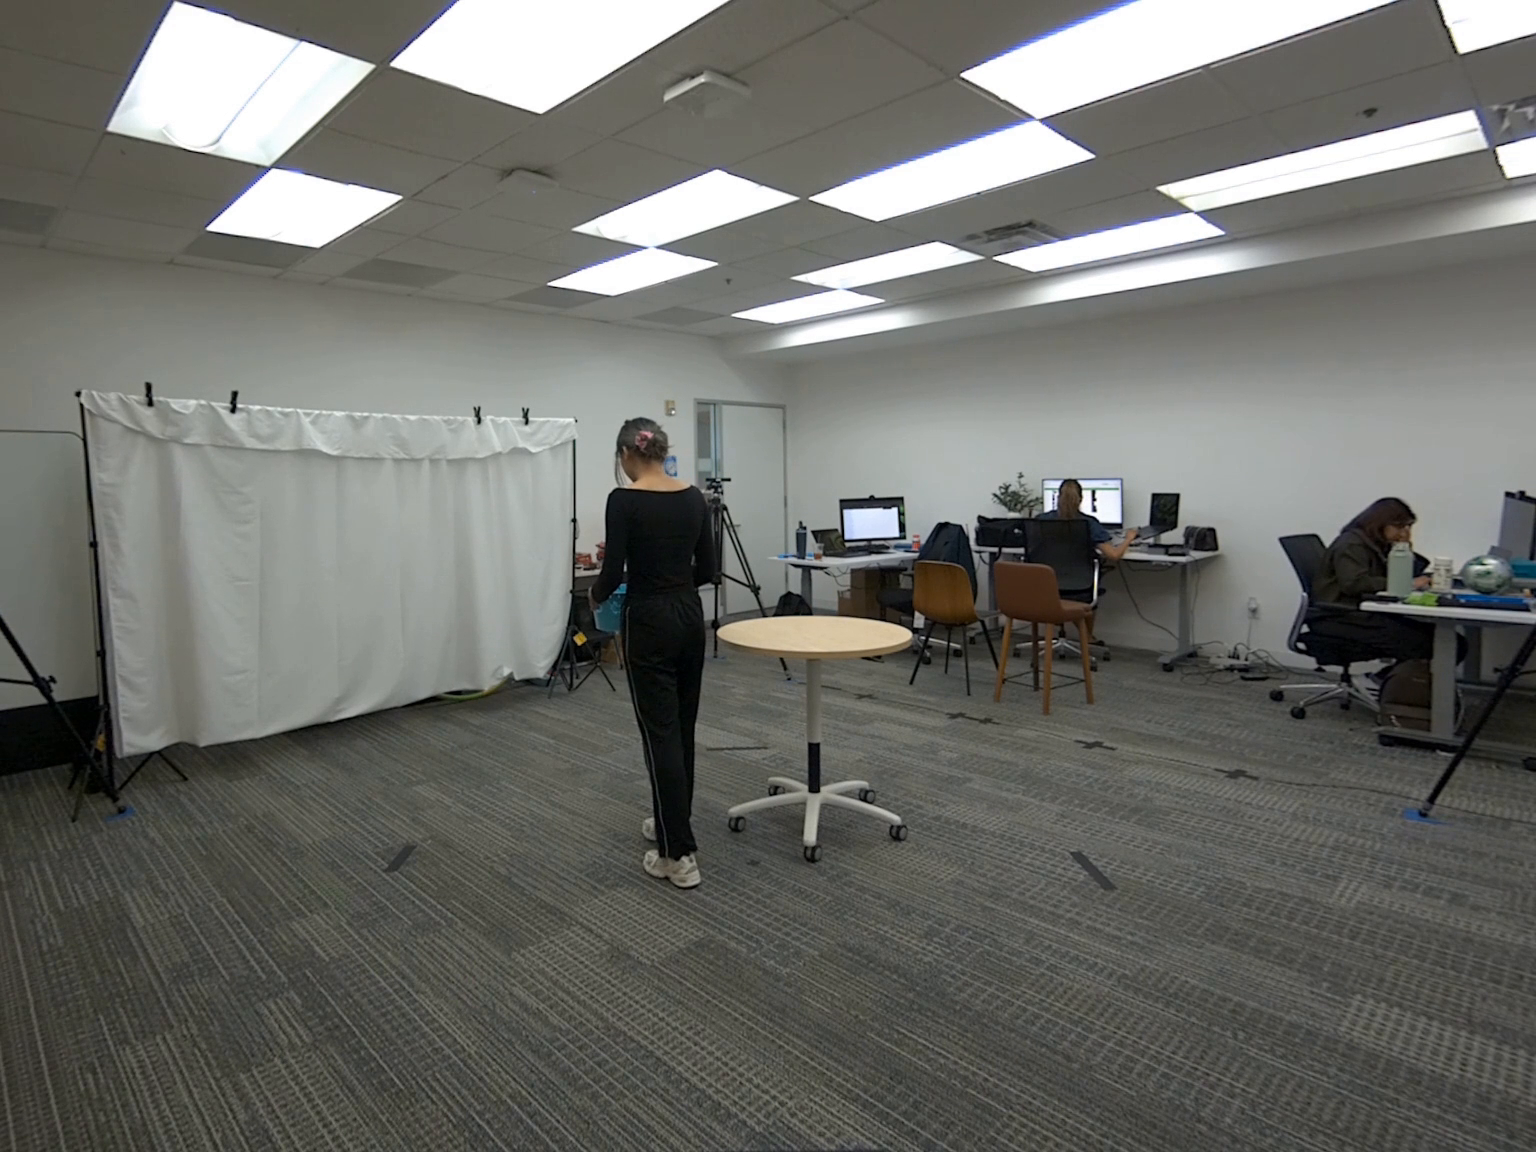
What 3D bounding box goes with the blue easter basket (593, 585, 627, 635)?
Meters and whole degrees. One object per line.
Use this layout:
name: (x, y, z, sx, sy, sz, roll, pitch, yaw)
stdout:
blue easter basket: (-0.566, 0.130, 3.341, 0.243, 0.155, 0.245, -1, 6, -2)
